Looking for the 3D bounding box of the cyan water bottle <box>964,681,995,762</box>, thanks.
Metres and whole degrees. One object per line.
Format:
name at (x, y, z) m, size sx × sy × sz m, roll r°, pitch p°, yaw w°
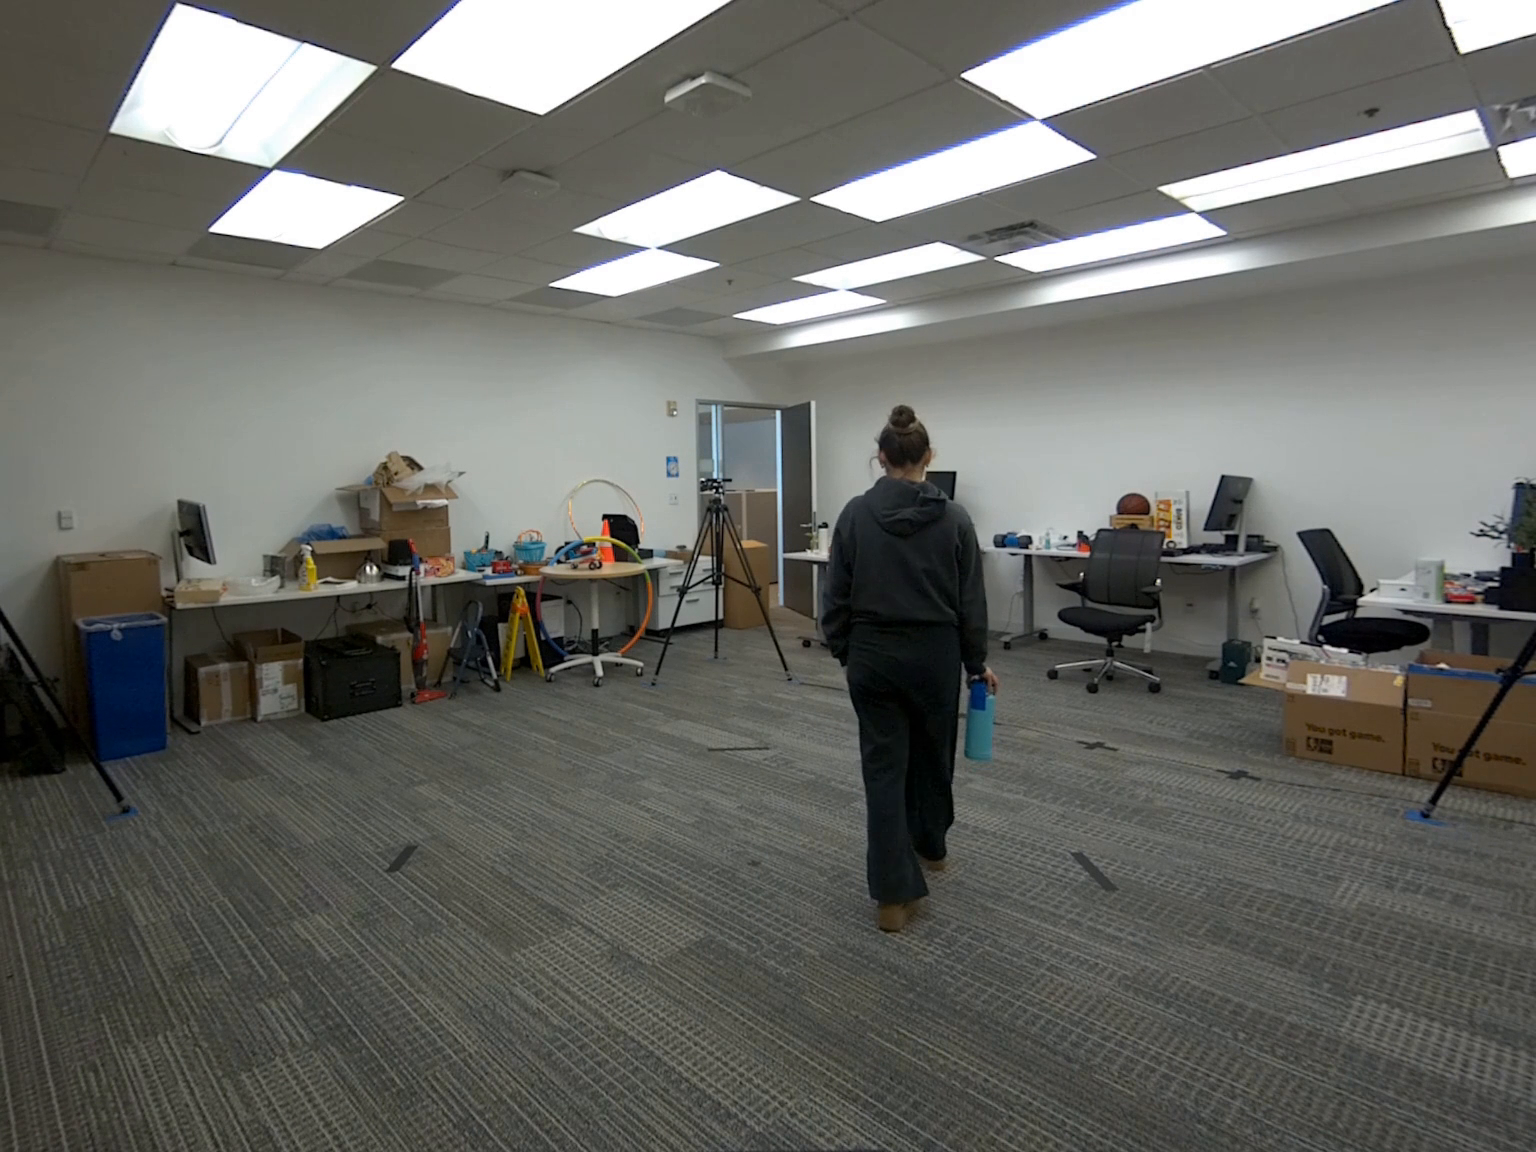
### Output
cyan water bottle at (0.719, 0.476, 2.891) m, size 0.092 × 0.282 × 0.093 m, roll 3°, pitch 5°, yaw -2°
